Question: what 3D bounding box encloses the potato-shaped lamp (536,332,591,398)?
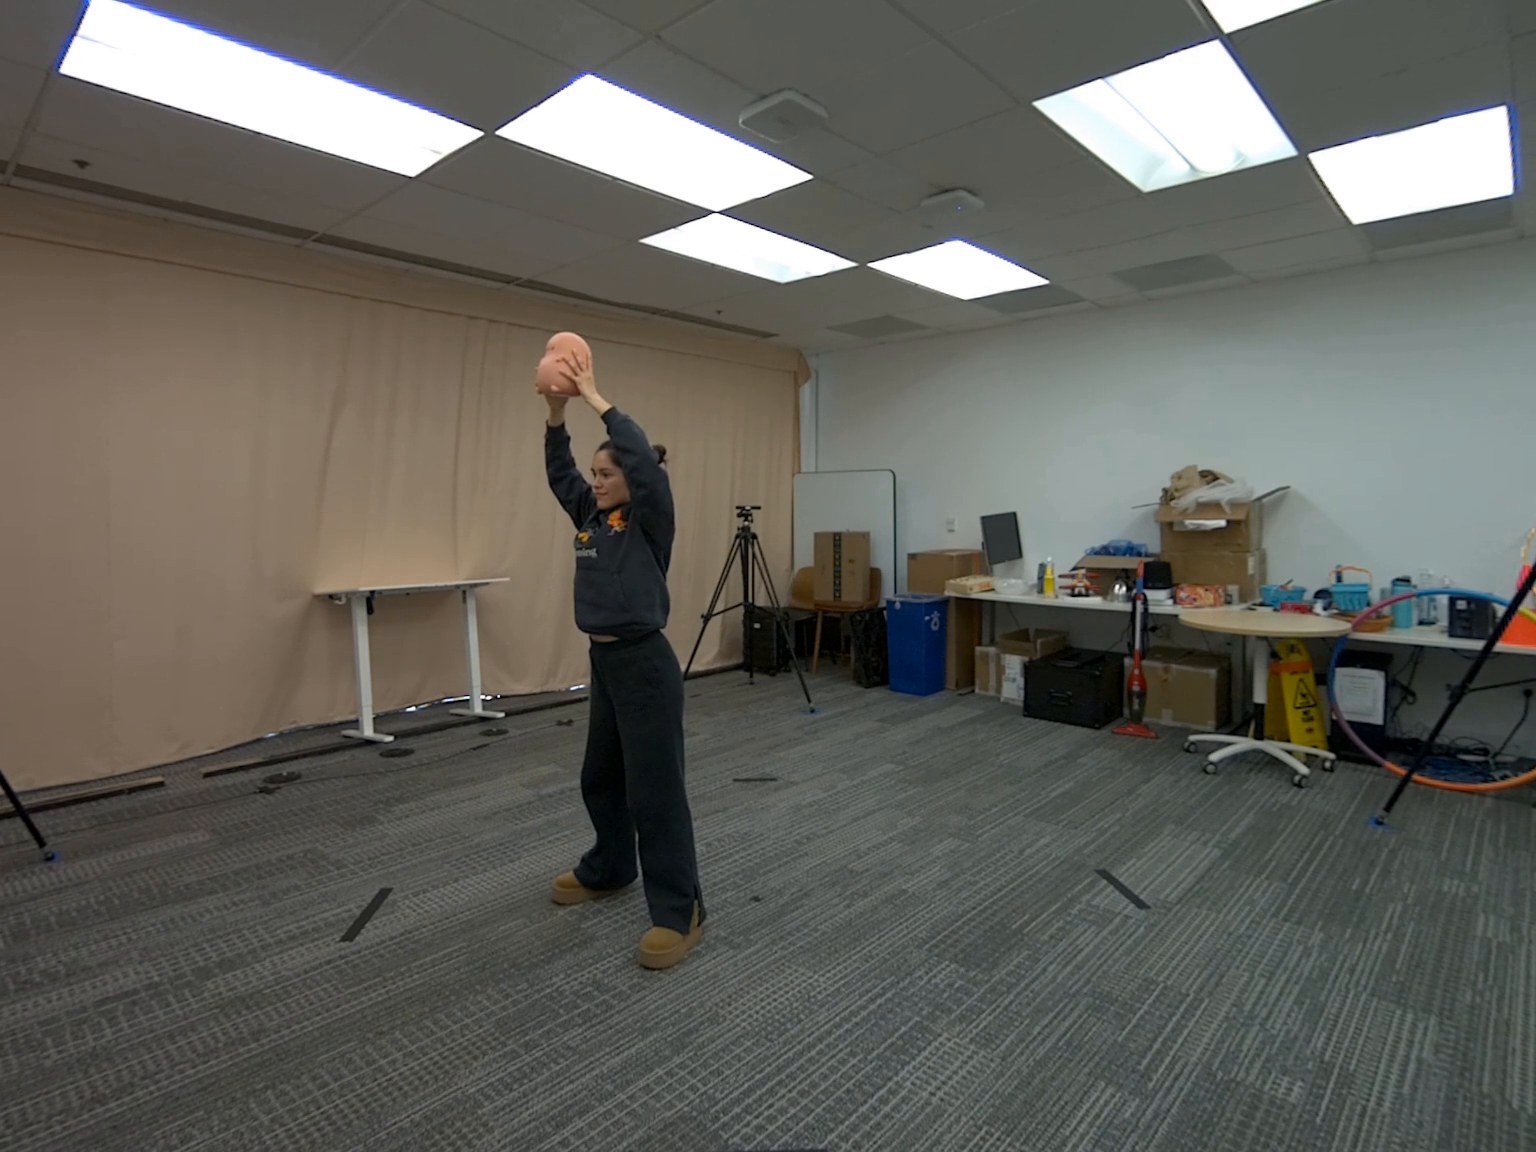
[{"bbox_3d":[-0.639,-0.659,2.634,0.166,0.197,0.170,-4,8,-40],"label":"potato-shaped lamp"}]
